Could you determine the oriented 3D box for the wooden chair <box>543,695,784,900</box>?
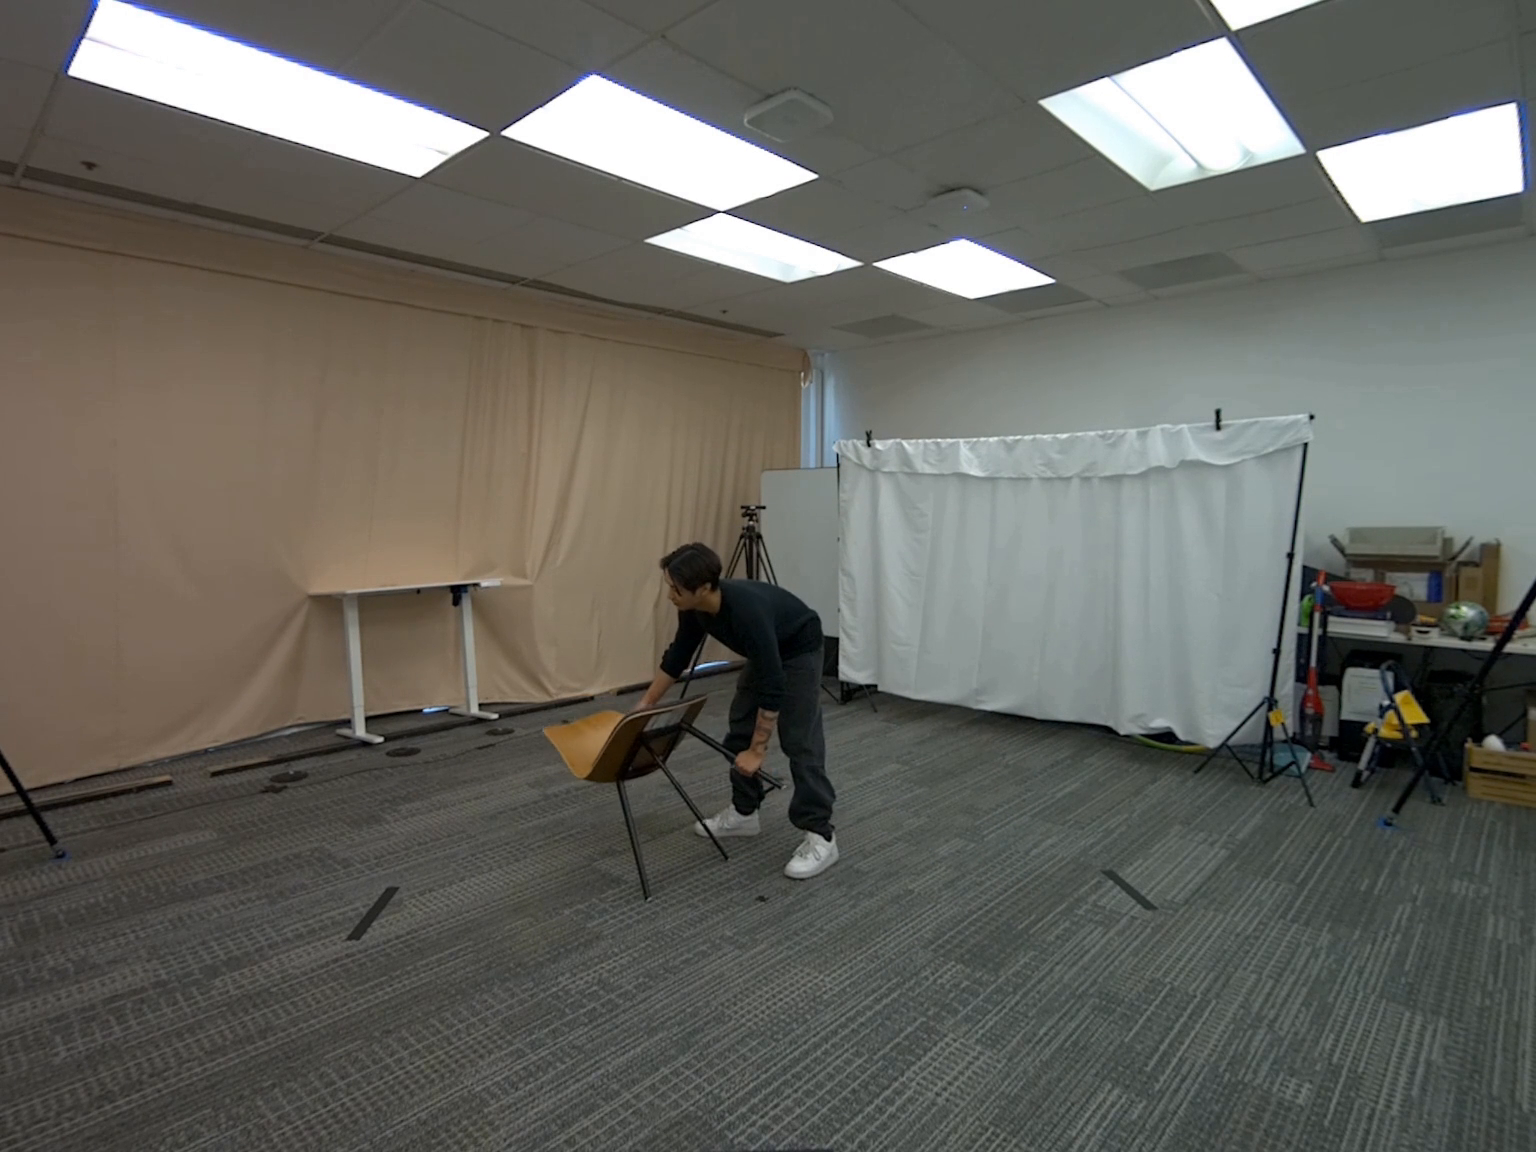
[{"bbox_3d":[-0.447,0.678,3.236,0.906,0.522,0.464,41,28,30],"label":"wooden chair"}]
